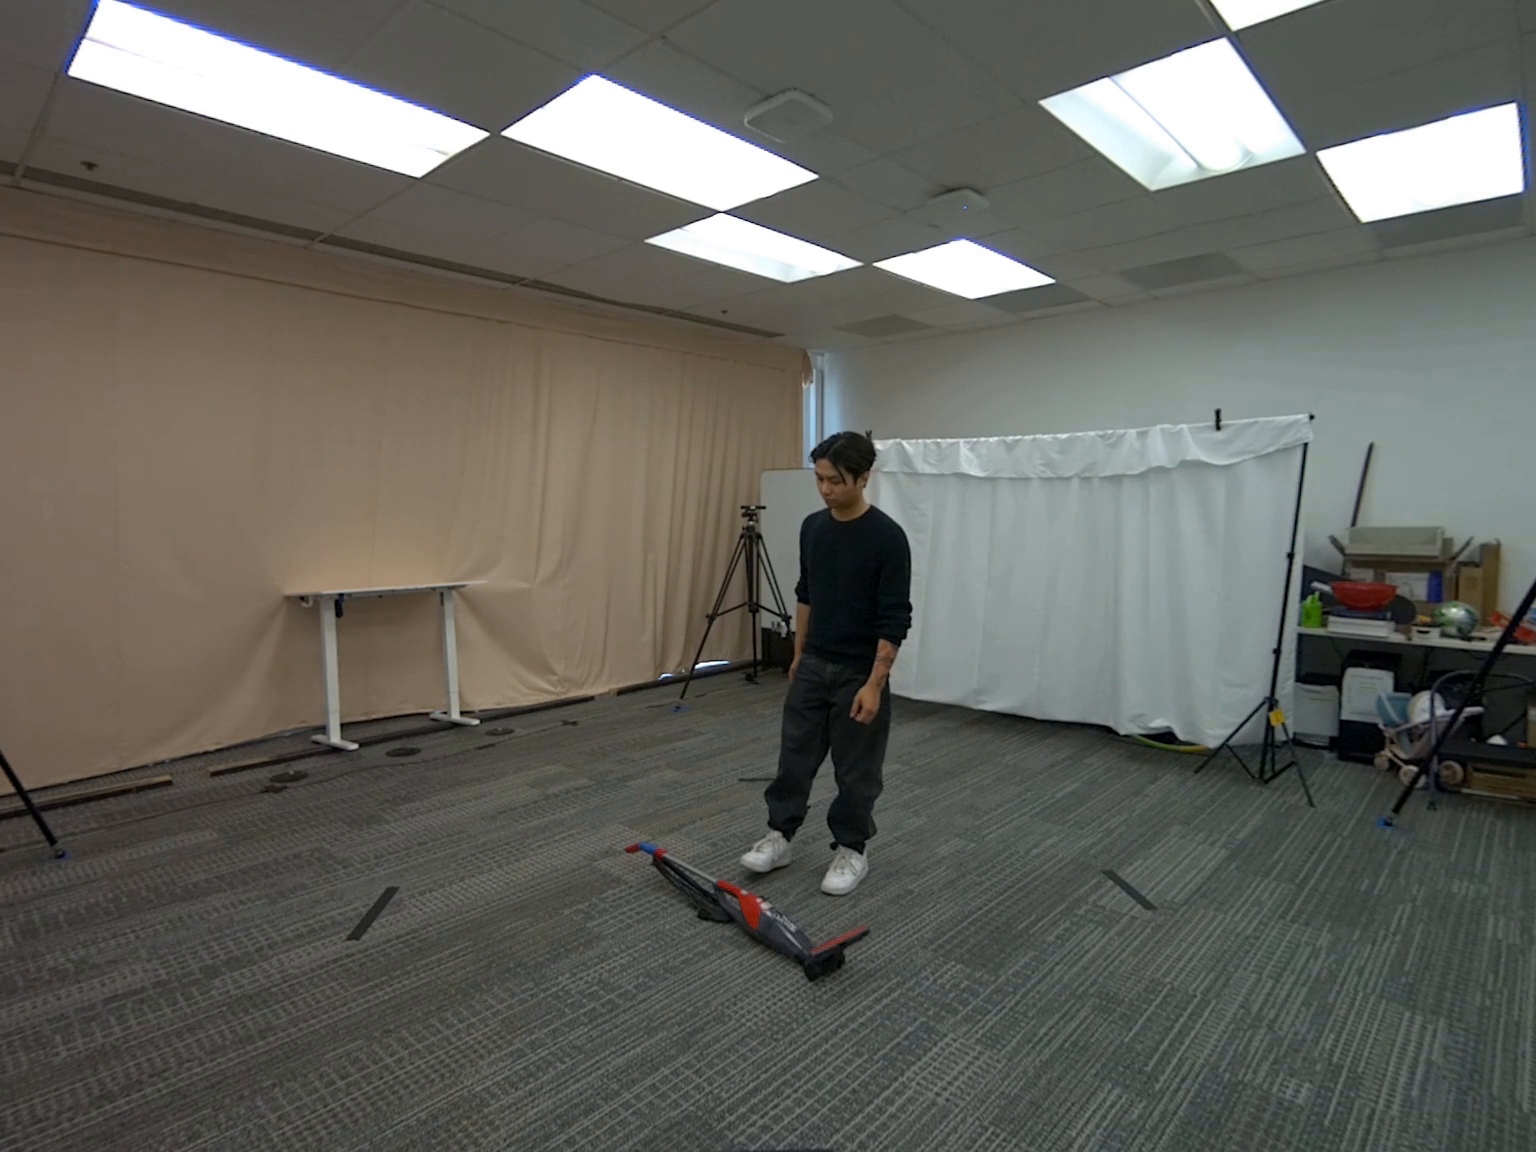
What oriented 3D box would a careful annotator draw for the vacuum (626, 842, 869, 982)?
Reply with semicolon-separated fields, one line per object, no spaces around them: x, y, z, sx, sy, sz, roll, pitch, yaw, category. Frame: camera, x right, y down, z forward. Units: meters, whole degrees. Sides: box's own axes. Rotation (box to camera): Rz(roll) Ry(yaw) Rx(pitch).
-0.177;1.093;2.871;0.244;0.144;1.084;0;3;-43;vacuum
